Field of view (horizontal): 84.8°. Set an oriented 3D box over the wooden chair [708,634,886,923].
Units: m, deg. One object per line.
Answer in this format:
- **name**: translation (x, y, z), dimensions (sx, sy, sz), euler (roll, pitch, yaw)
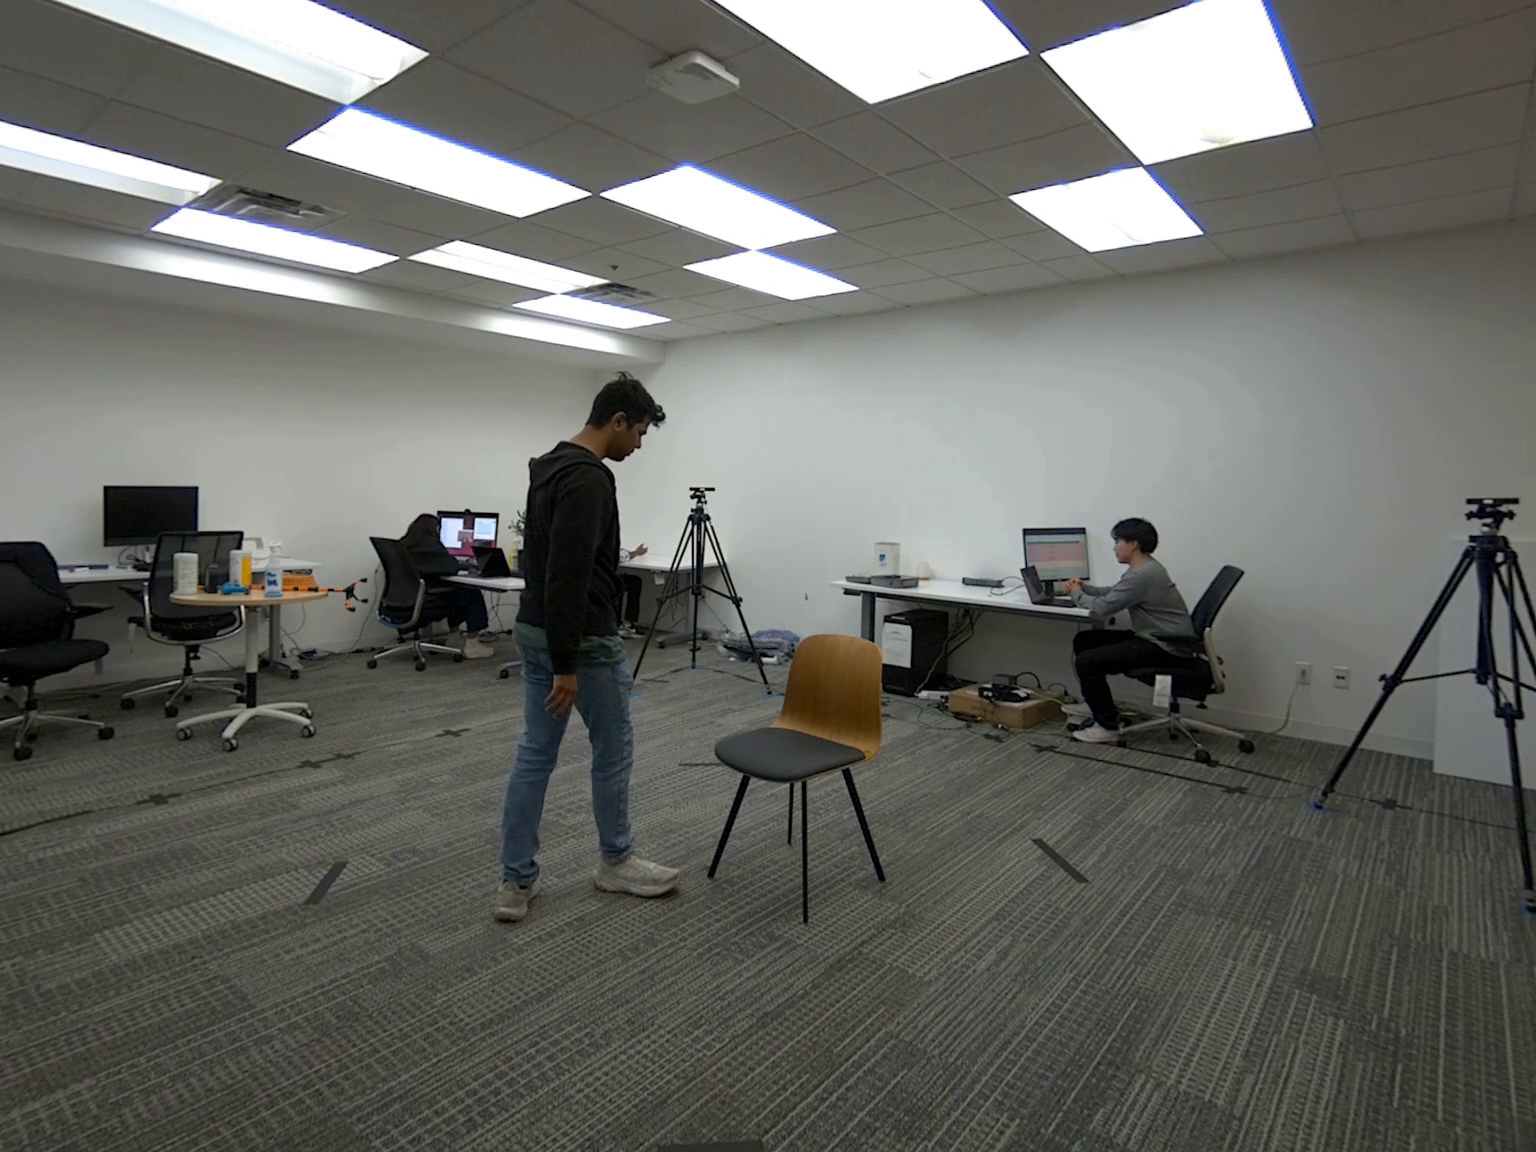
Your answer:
- **wooden chair**: translation (0.095, 0.657, 3.008), dimensions (0.494, 0.877, 0.506), euler (5, 1, 43)
